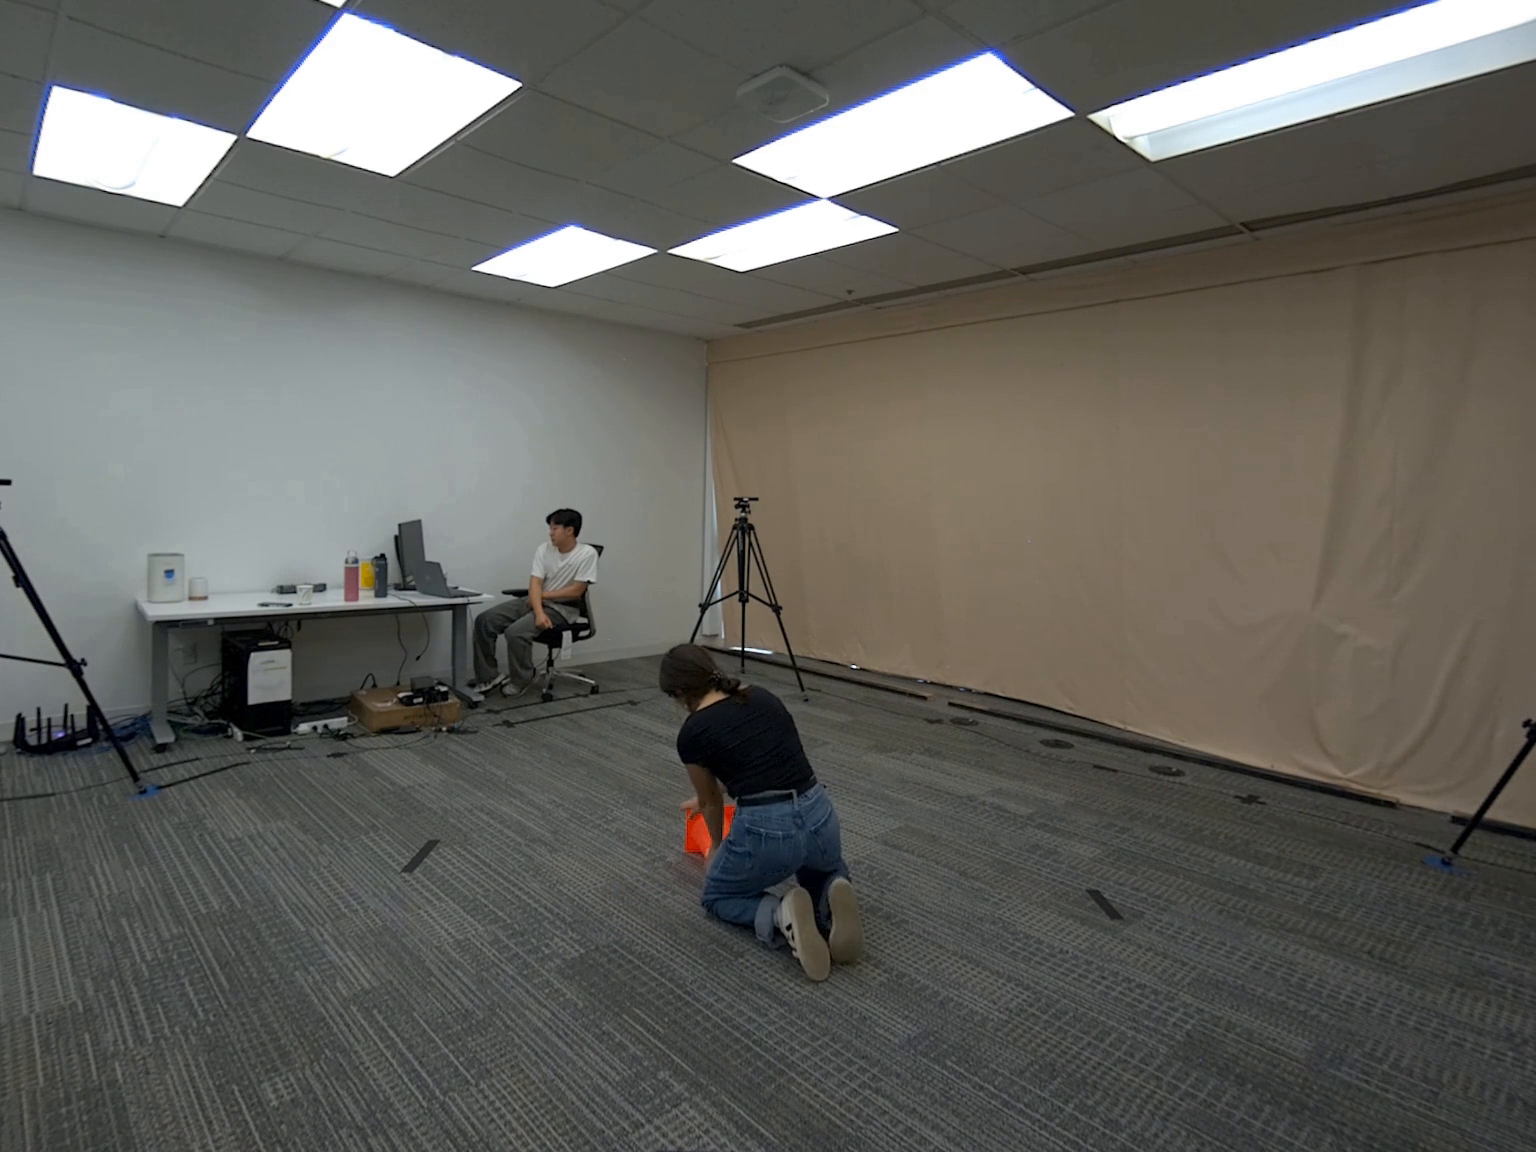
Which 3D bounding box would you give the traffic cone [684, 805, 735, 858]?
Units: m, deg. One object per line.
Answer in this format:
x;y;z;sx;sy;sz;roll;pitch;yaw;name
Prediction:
-0.179;1.056;3.117;0.201;0.203;0.392;-1;18;-14;traffic cone
